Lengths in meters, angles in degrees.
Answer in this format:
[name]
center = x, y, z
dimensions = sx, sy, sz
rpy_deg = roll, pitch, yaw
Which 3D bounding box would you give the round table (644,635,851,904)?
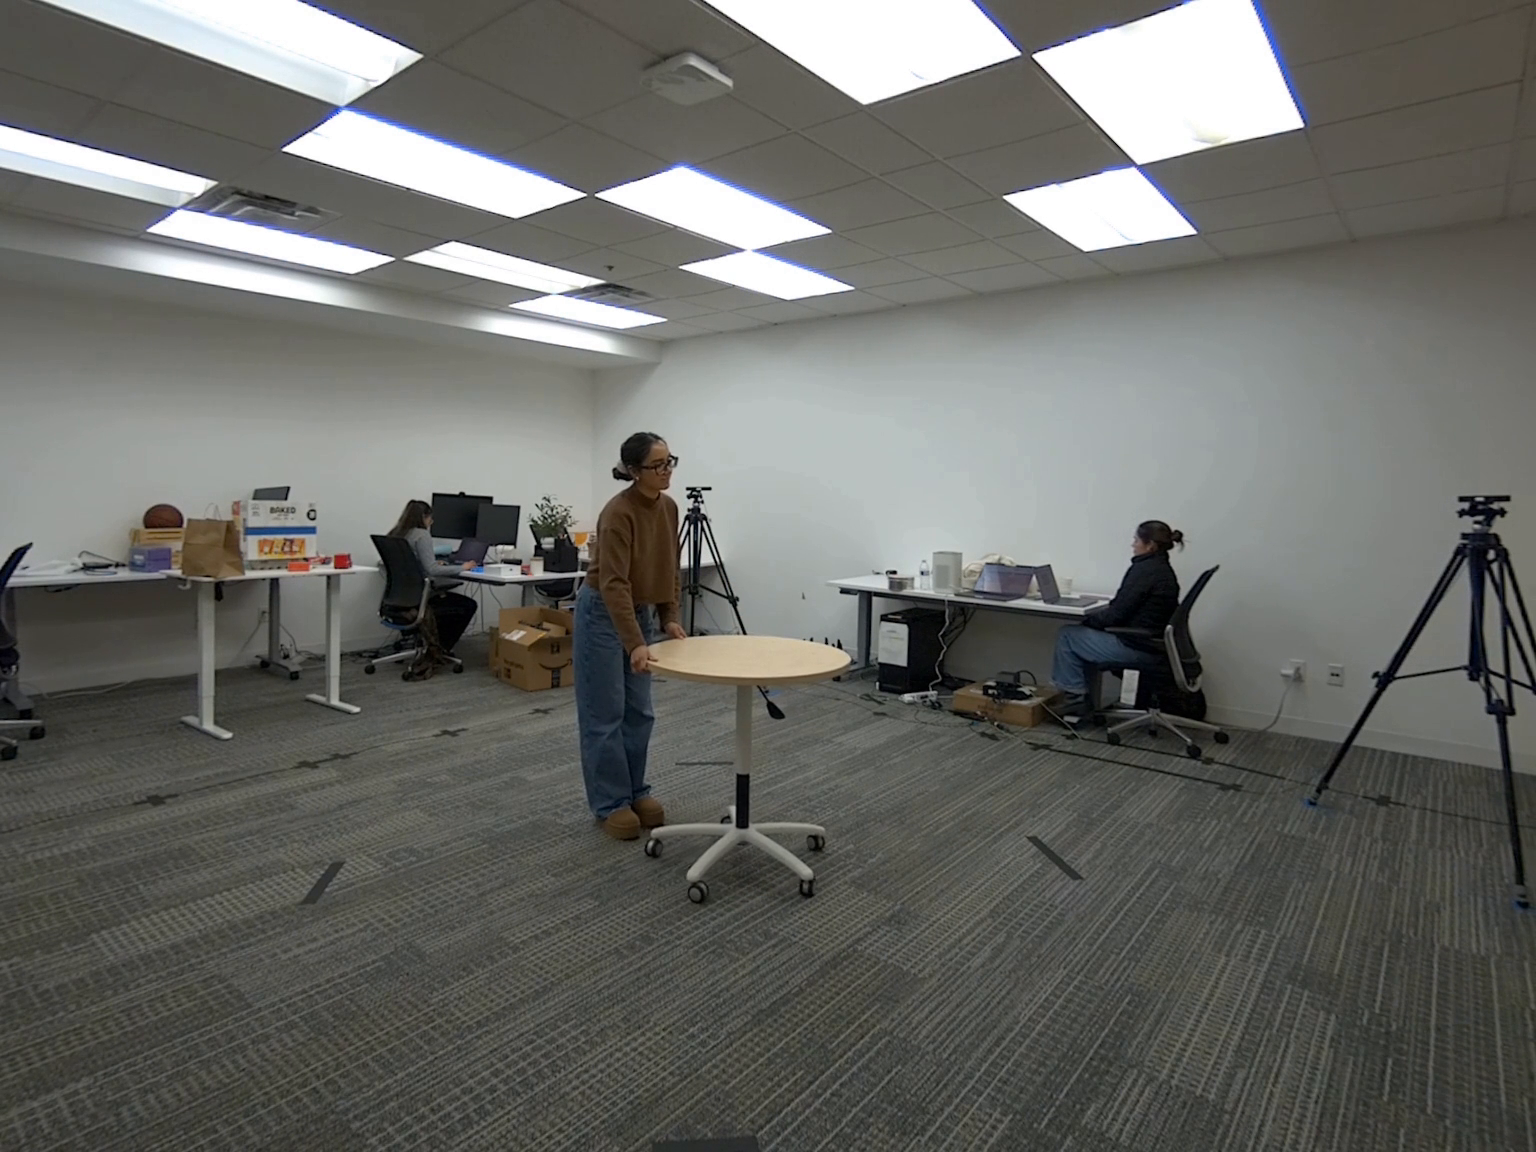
[round table]
center = -0.107, 0.674, 3.135
dimensions = 0.763, 0.791, 0.768
rpy_deg = 1, 5, -2
